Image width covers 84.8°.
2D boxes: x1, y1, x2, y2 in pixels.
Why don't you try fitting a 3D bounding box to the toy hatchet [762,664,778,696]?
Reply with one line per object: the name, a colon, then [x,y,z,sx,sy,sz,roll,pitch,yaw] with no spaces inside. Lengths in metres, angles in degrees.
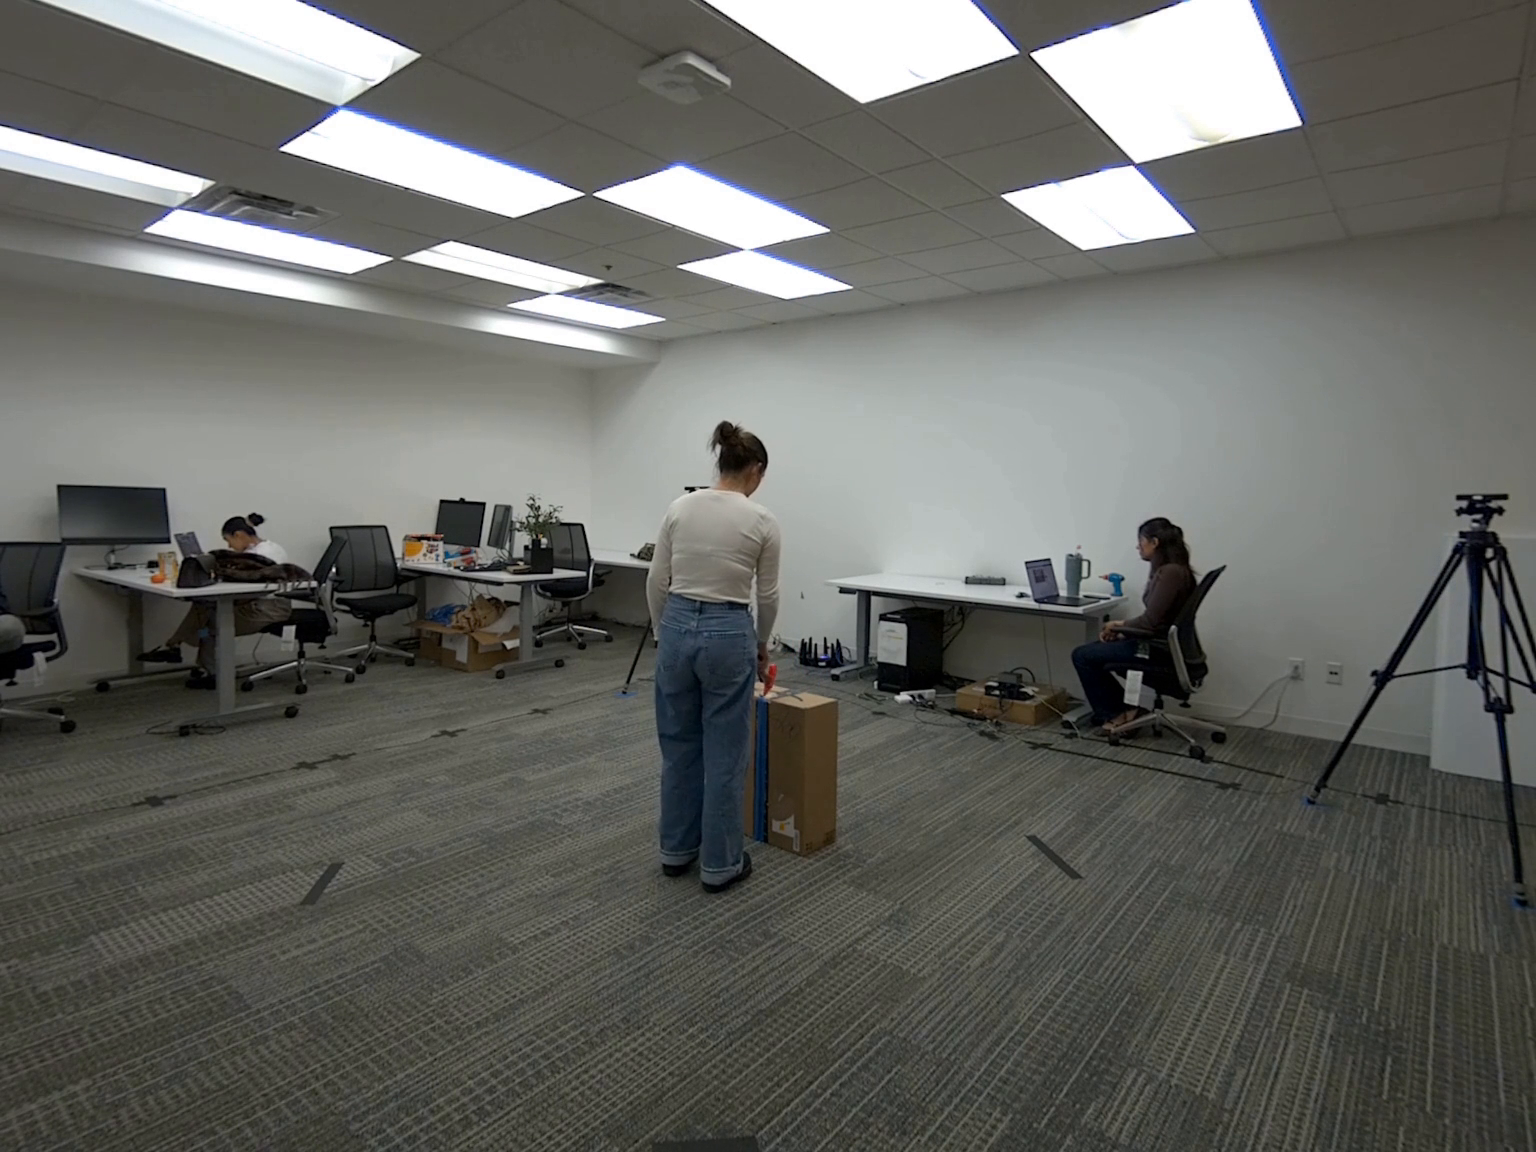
toy hatchet: [-0.013,0.342,3.316,0.030,0.132,0.260,12,-34,24]
